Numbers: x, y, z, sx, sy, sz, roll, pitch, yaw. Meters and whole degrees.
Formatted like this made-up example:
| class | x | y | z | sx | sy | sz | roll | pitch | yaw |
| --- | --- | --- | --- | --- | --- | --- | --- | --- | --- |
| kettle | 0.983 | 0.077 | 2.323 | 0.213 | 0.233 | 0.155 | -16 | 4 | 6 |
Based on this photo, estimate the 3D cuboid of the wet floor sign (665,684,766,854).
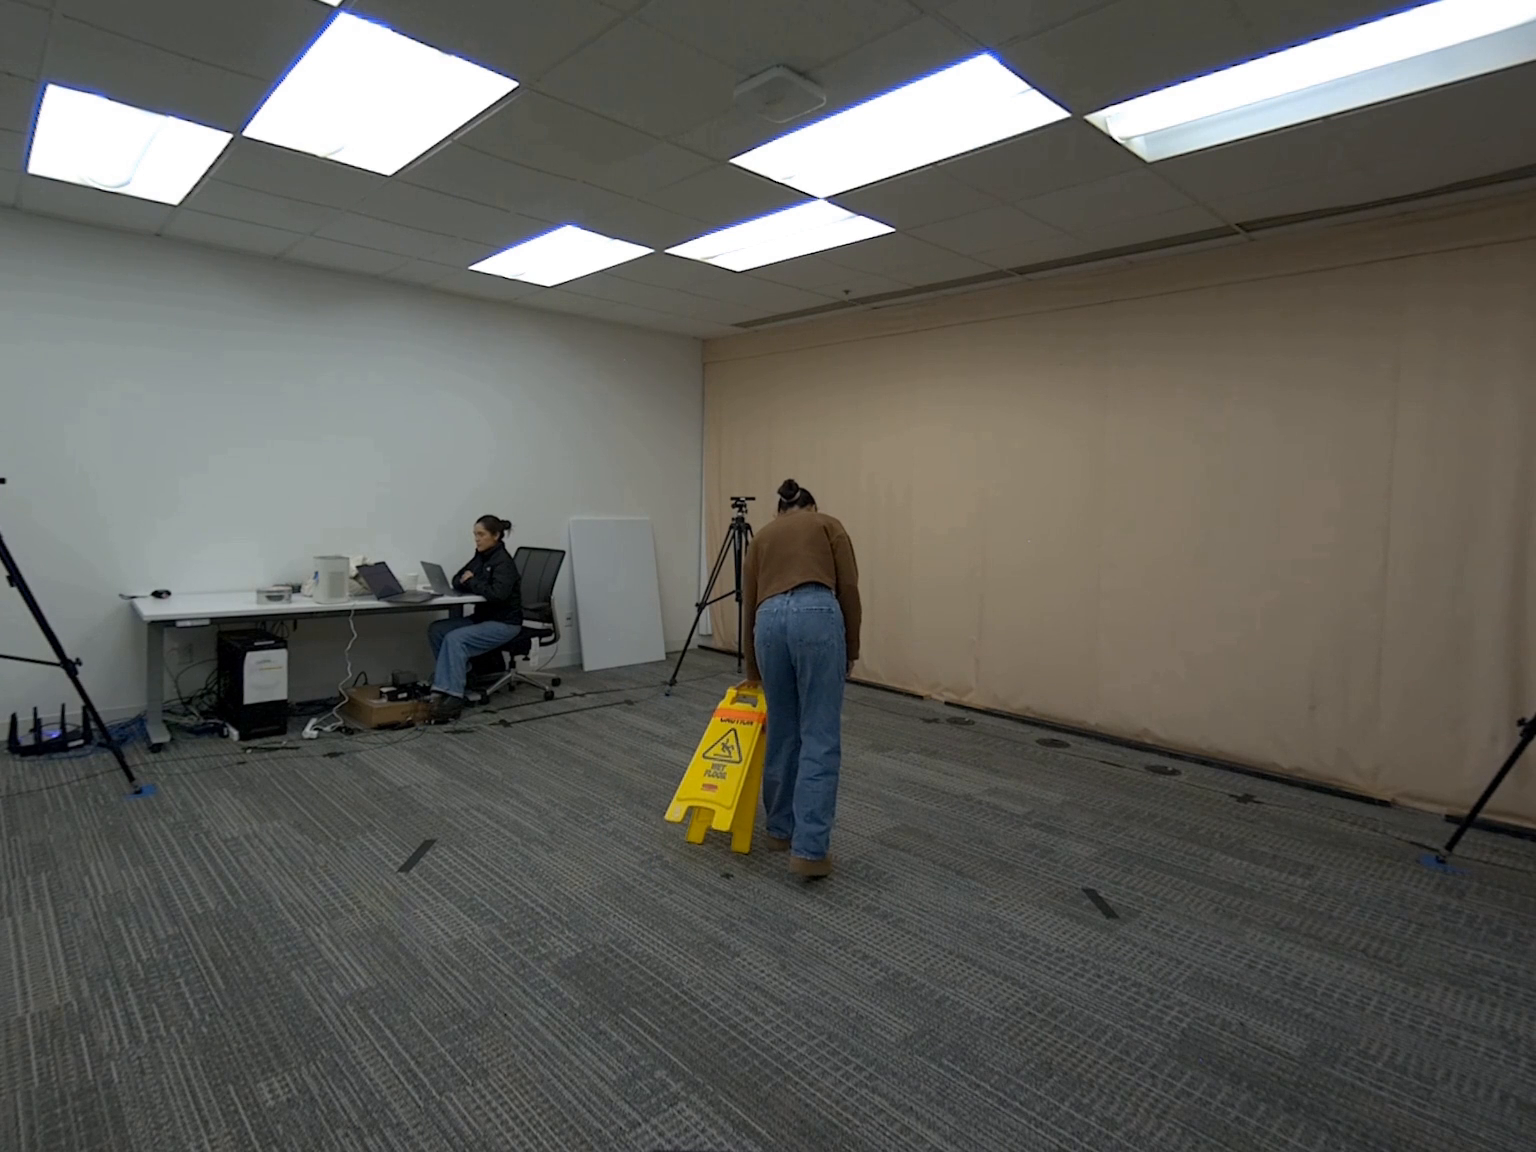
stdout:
| class | x | y | z | sx | sy | sz | roll | pitch | yaw |
| --- | --- | --- | --- | --- | --- | --- | --- | --- | --- |
| wet floor sign | -0.169 | 0.752 | 3.452 | 0.287 | 0.653 | 0.281 | 3 | -35 | 23 |
